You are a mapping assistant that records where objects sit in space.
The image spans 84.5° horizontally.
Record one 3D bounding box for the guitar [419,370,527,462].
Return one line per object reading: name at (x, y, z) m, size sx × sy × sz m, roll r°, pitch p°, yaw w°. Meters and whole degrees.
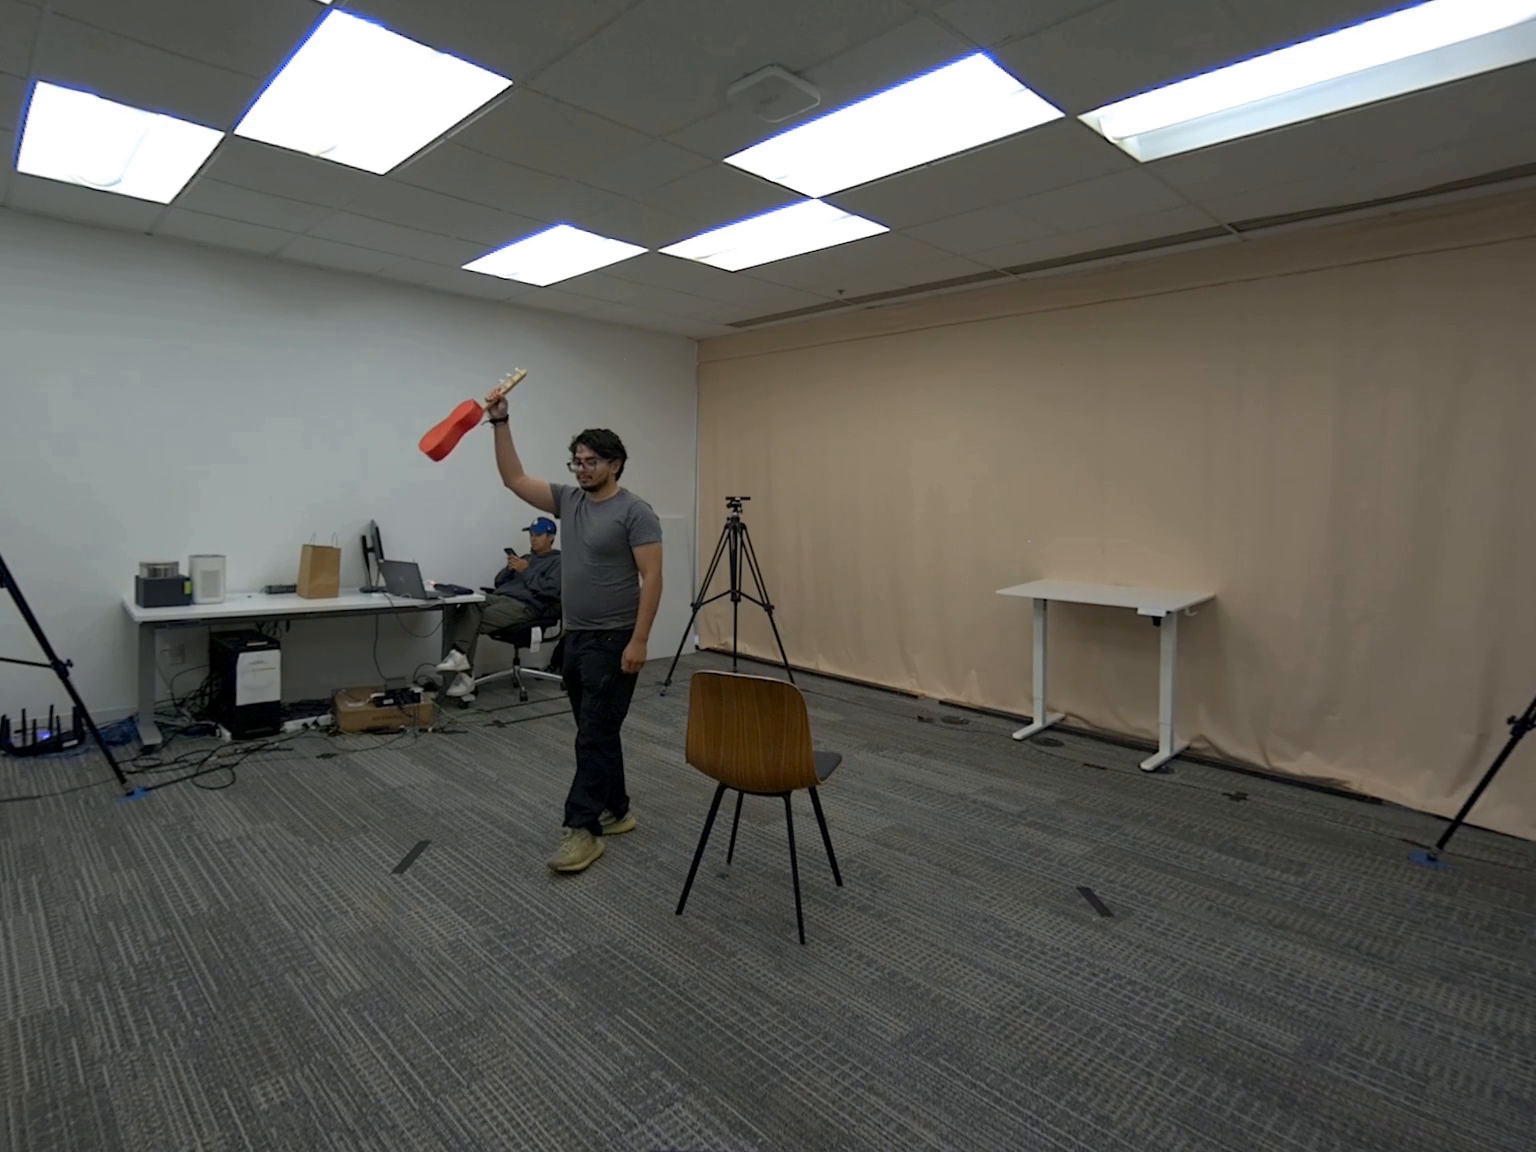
guitar at (-1.145, -0.637, 3.248) m, size 0.199 × 0.498 × 0.068 m, roll 20°, pitch -22°, yaw 50°
